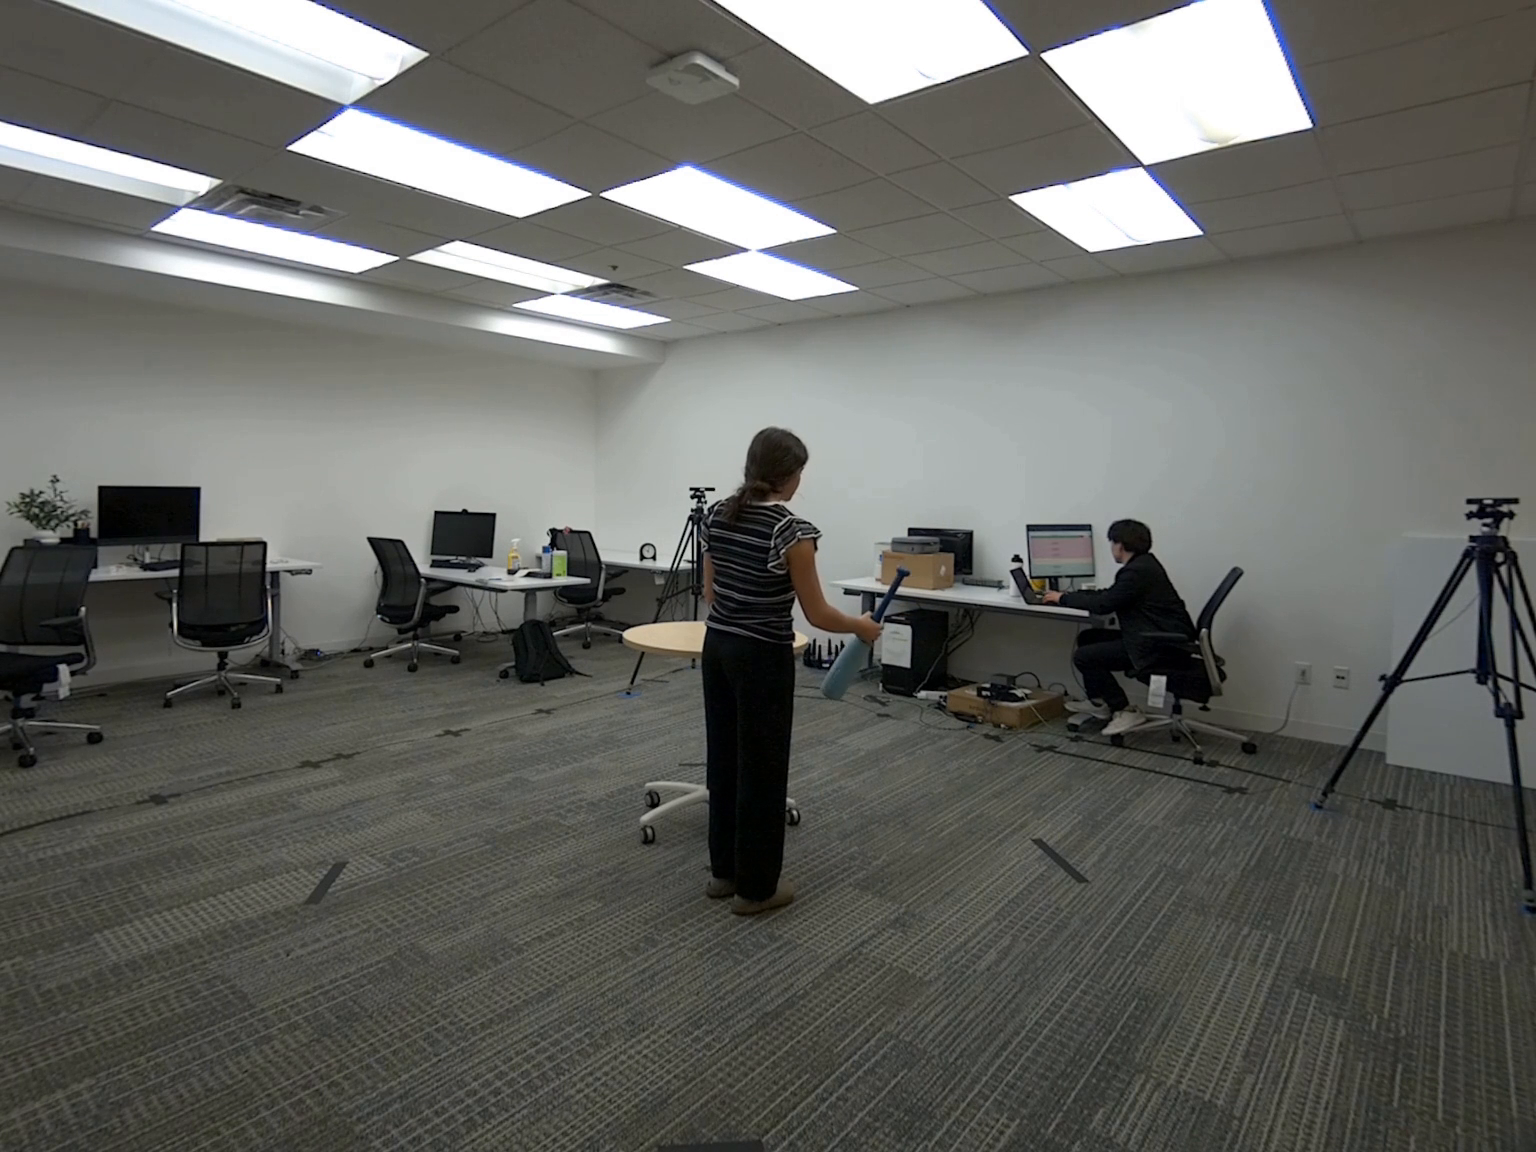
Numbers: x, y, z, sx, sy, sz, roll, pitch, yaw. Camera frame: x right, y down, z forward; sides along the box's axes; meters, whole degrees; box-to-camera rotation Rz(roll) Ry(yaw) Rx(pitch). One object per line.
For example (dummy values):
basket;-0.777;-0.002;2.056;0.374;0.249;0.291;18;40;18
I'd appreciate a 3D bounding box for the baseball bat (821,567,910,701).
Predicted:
baseball bat;0.332;0.215;2.948;0.088;0.539;0.091;25;18;-11
